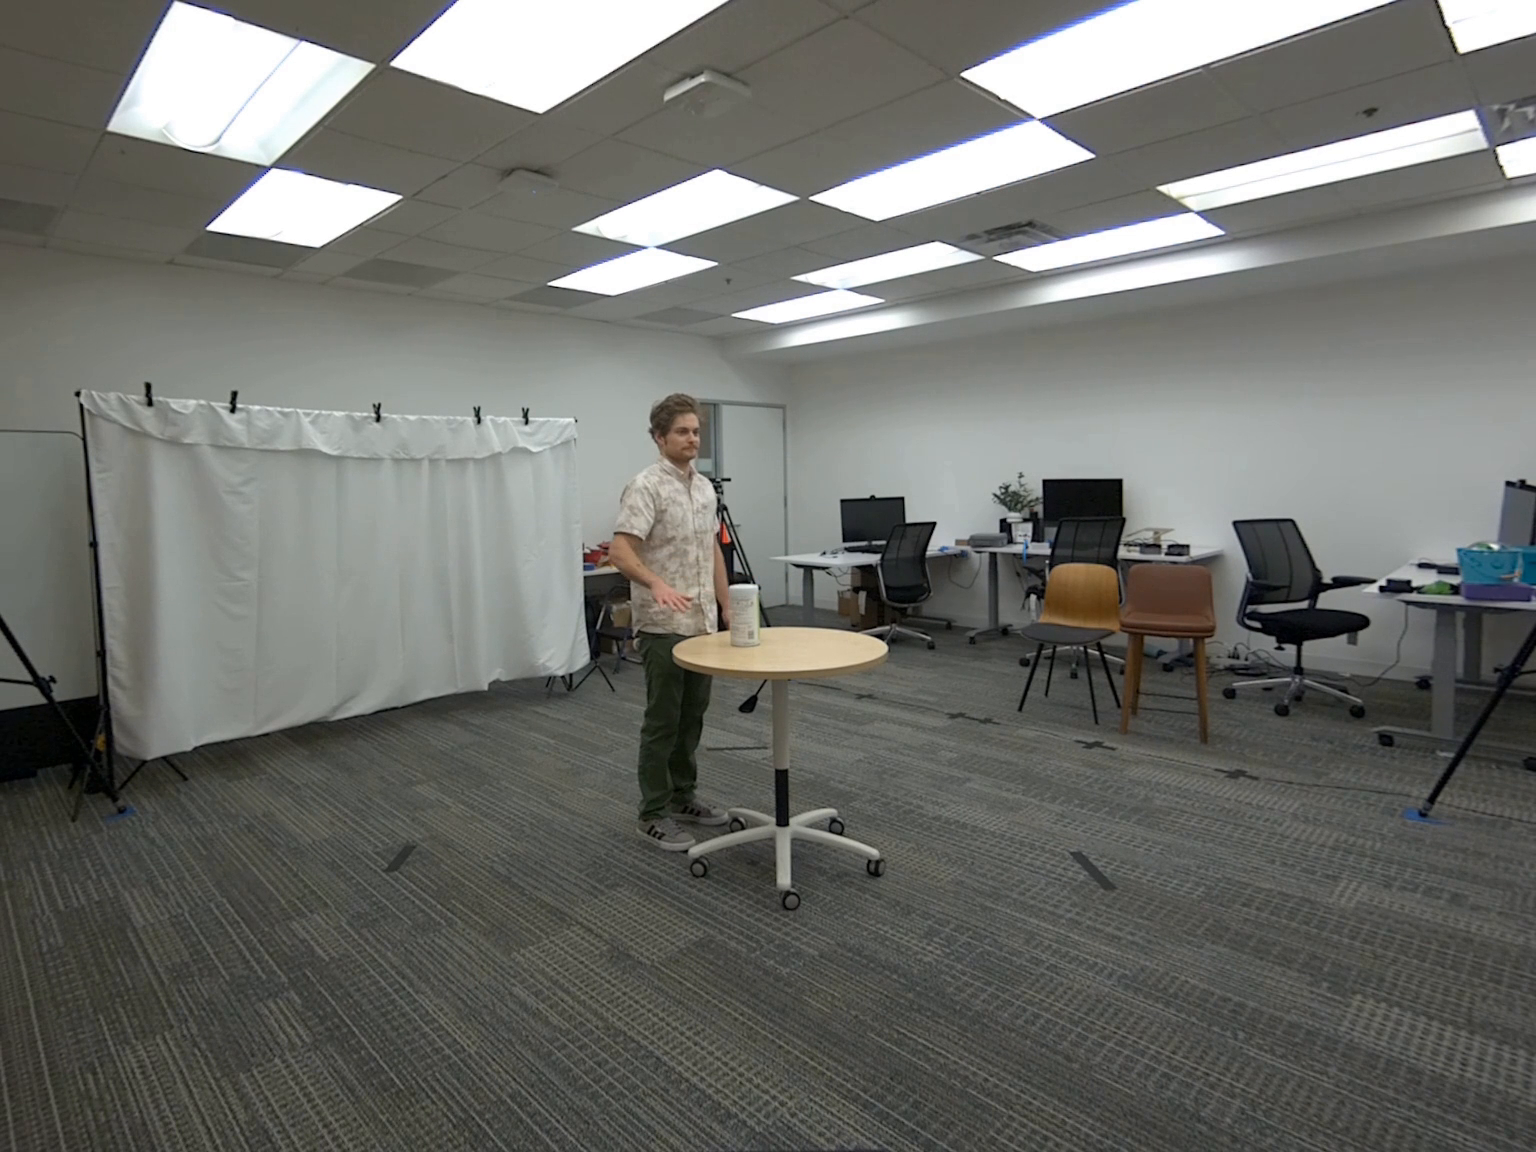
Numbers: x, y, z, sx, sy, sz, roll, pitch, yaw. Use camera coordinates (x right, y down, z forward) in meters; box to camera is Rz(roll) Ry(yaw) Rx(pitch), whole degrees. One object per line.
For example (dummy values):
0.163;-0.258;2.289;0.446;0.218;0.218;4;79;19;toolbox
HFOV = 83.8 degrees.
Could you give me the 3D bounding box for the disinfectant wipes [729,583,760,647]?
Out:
-0.080;0.145;3.109;0.118;0.217;0.118;-1;2;-2;disinfectant wipes
